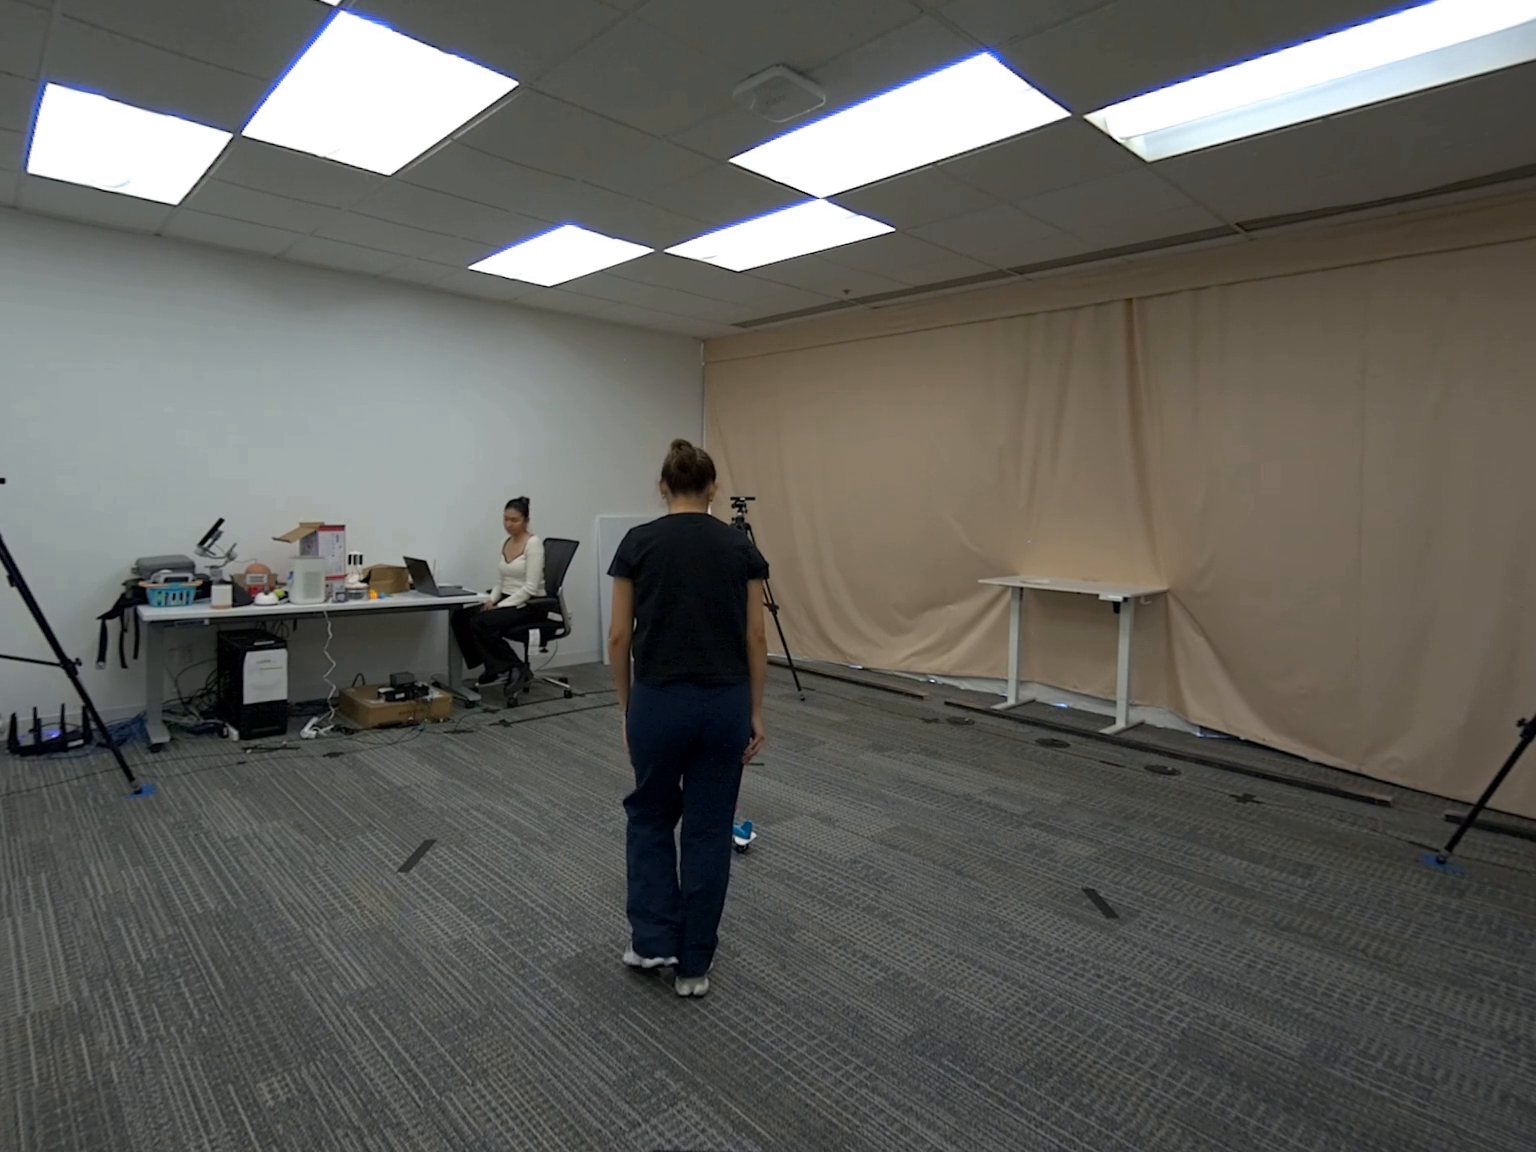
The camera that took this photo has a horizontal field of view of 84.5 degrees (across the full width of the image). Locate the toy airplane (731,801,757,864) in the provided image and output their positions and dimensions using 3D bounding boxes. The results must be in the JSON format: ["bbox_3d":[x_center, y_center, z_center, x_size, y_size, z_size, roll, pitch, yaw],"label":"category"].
[{"bbox_3d":[-0.177,1.014,3.366,0.259,0.156,0.251,-1,4,1],"label":"toy airplane"}]
